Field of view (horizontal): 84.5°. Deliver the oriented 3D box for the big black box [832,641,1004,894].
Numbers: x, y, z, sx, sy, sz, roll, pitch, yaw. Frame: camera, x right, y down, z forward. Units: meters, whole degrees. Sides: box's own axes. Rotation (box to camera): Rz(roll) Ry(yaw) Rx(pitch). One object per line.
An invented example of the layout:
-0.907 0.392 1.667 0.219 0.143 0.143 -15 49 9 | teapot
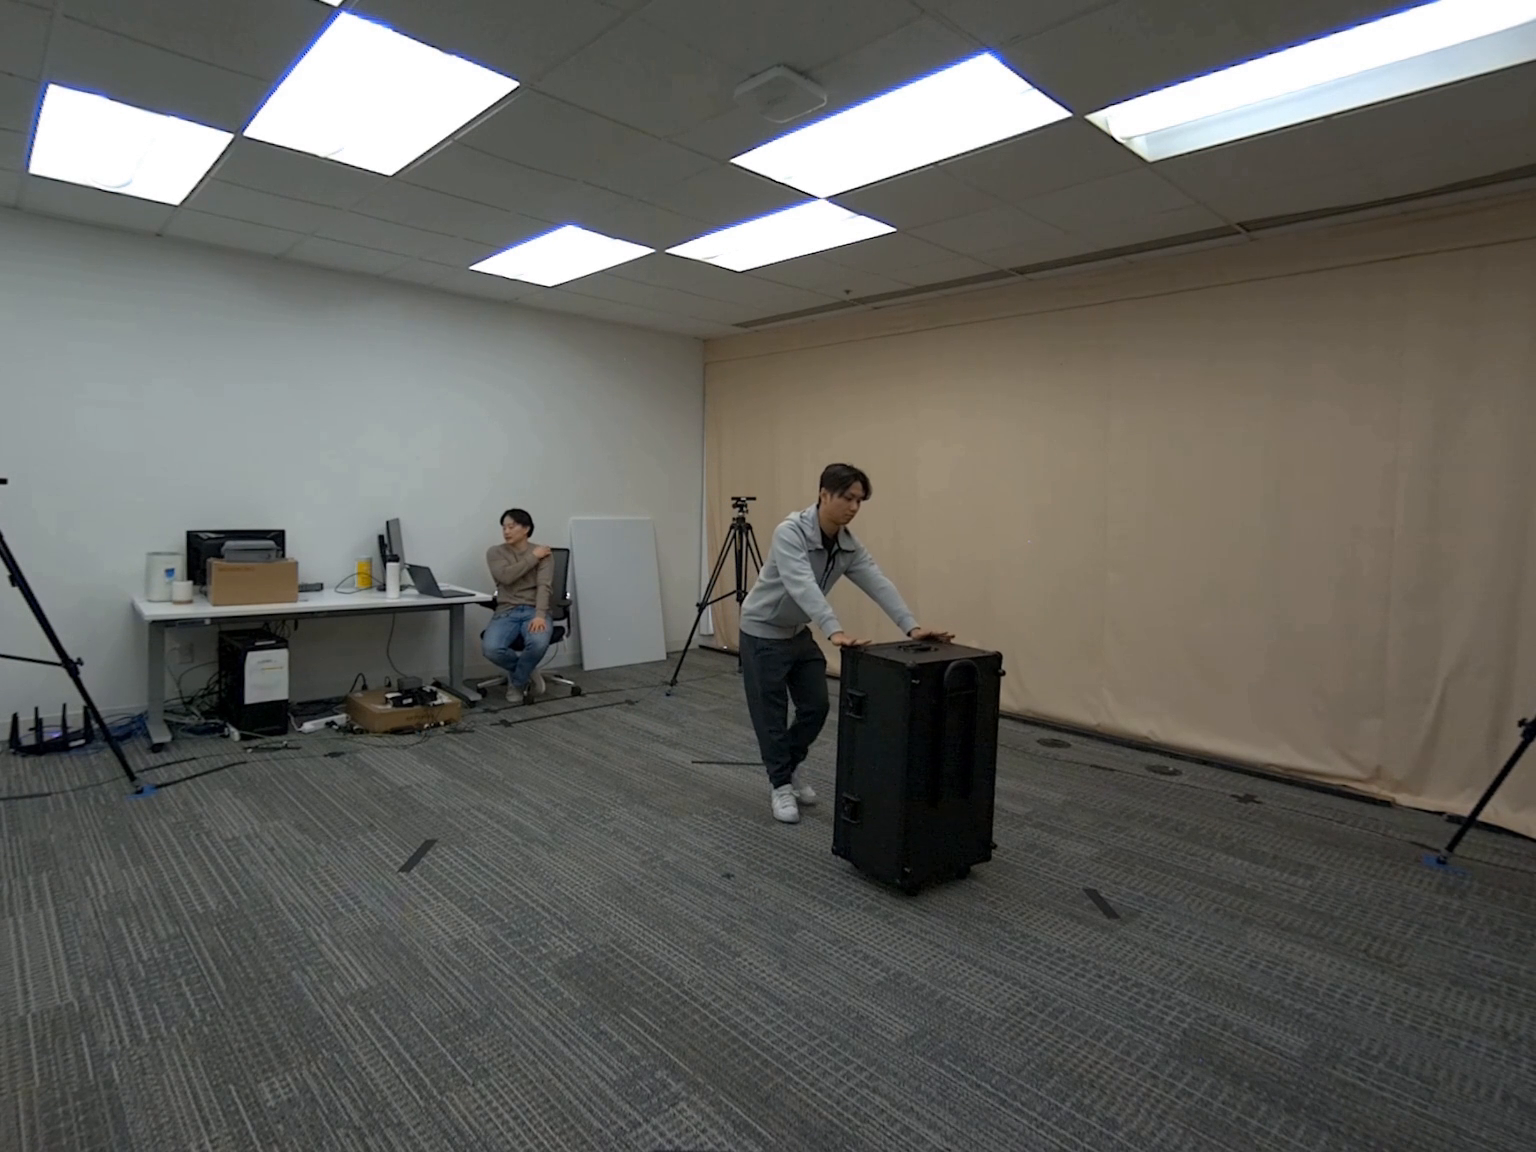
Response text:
0.557 0.700 3.122 0.510 0.859 0.406 -1 5 -36 | big black box
